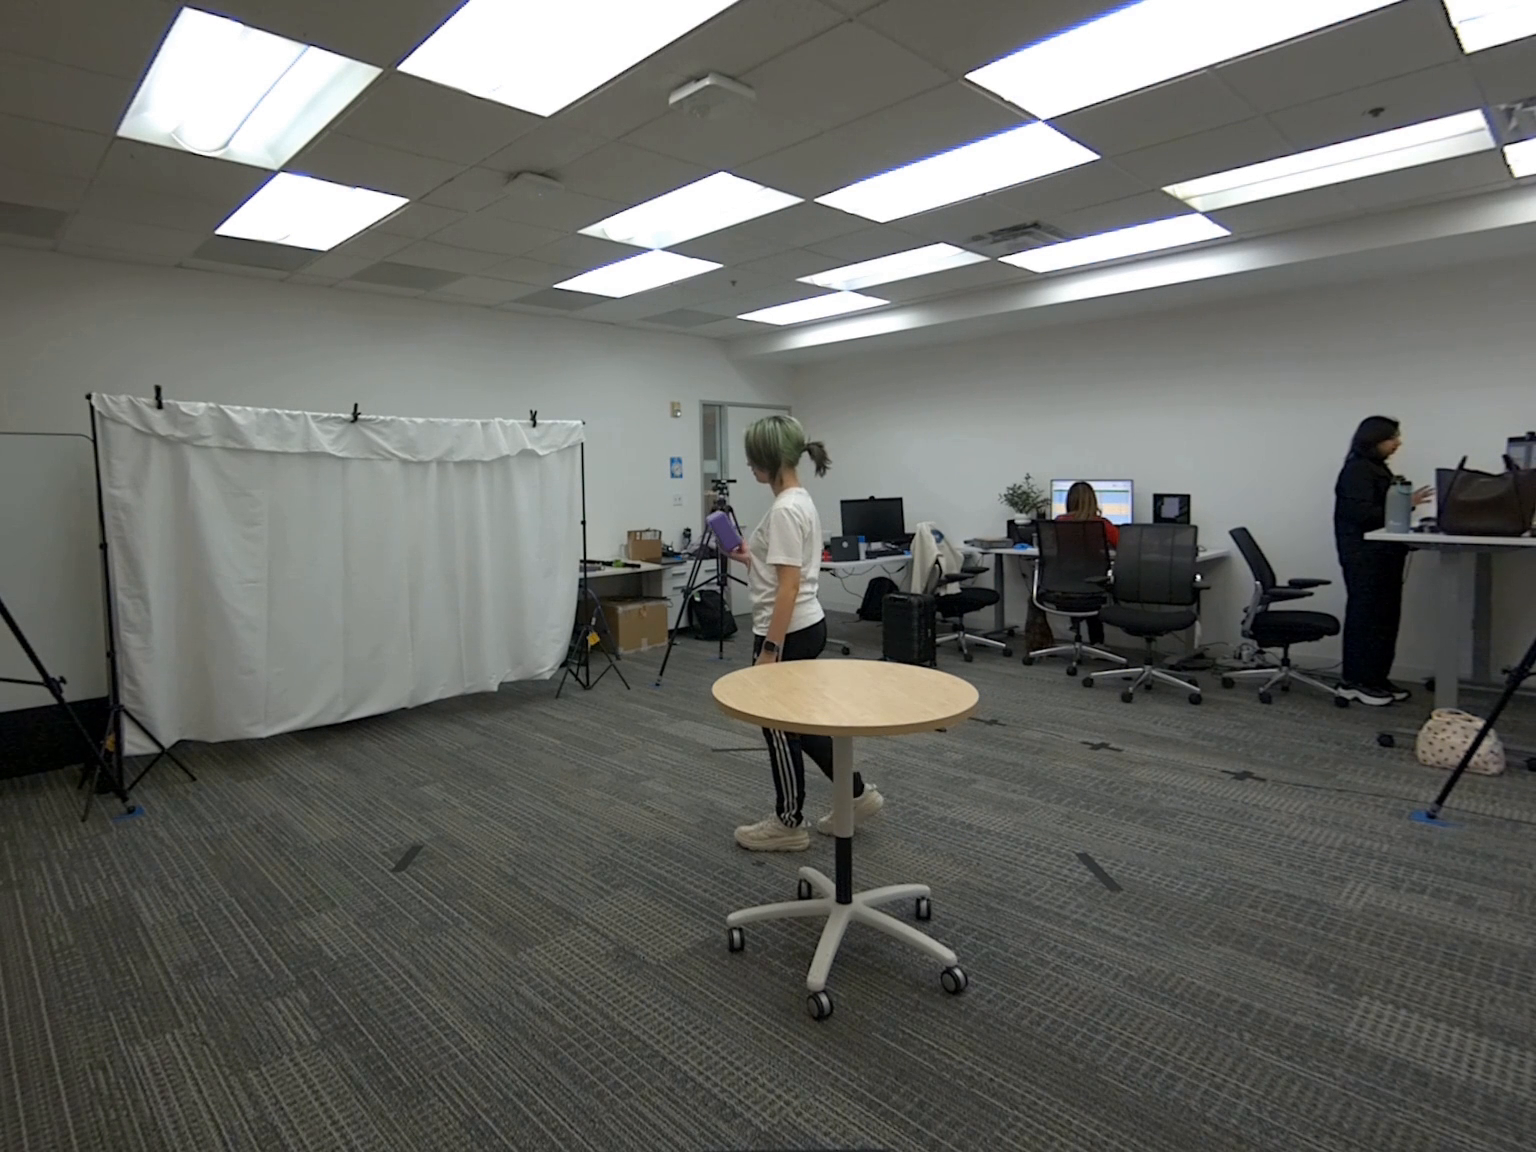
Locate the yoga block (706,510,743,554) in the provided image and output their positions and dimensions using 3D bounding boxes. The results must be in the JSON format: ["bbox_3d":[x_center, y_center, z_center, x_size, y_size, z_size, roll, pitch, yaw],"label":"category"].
[{"bbox_3d":[-0.184,-0.183,3.514,0.076,0.148,0.232,-28,8,-5],"label":"yoga block"}]
